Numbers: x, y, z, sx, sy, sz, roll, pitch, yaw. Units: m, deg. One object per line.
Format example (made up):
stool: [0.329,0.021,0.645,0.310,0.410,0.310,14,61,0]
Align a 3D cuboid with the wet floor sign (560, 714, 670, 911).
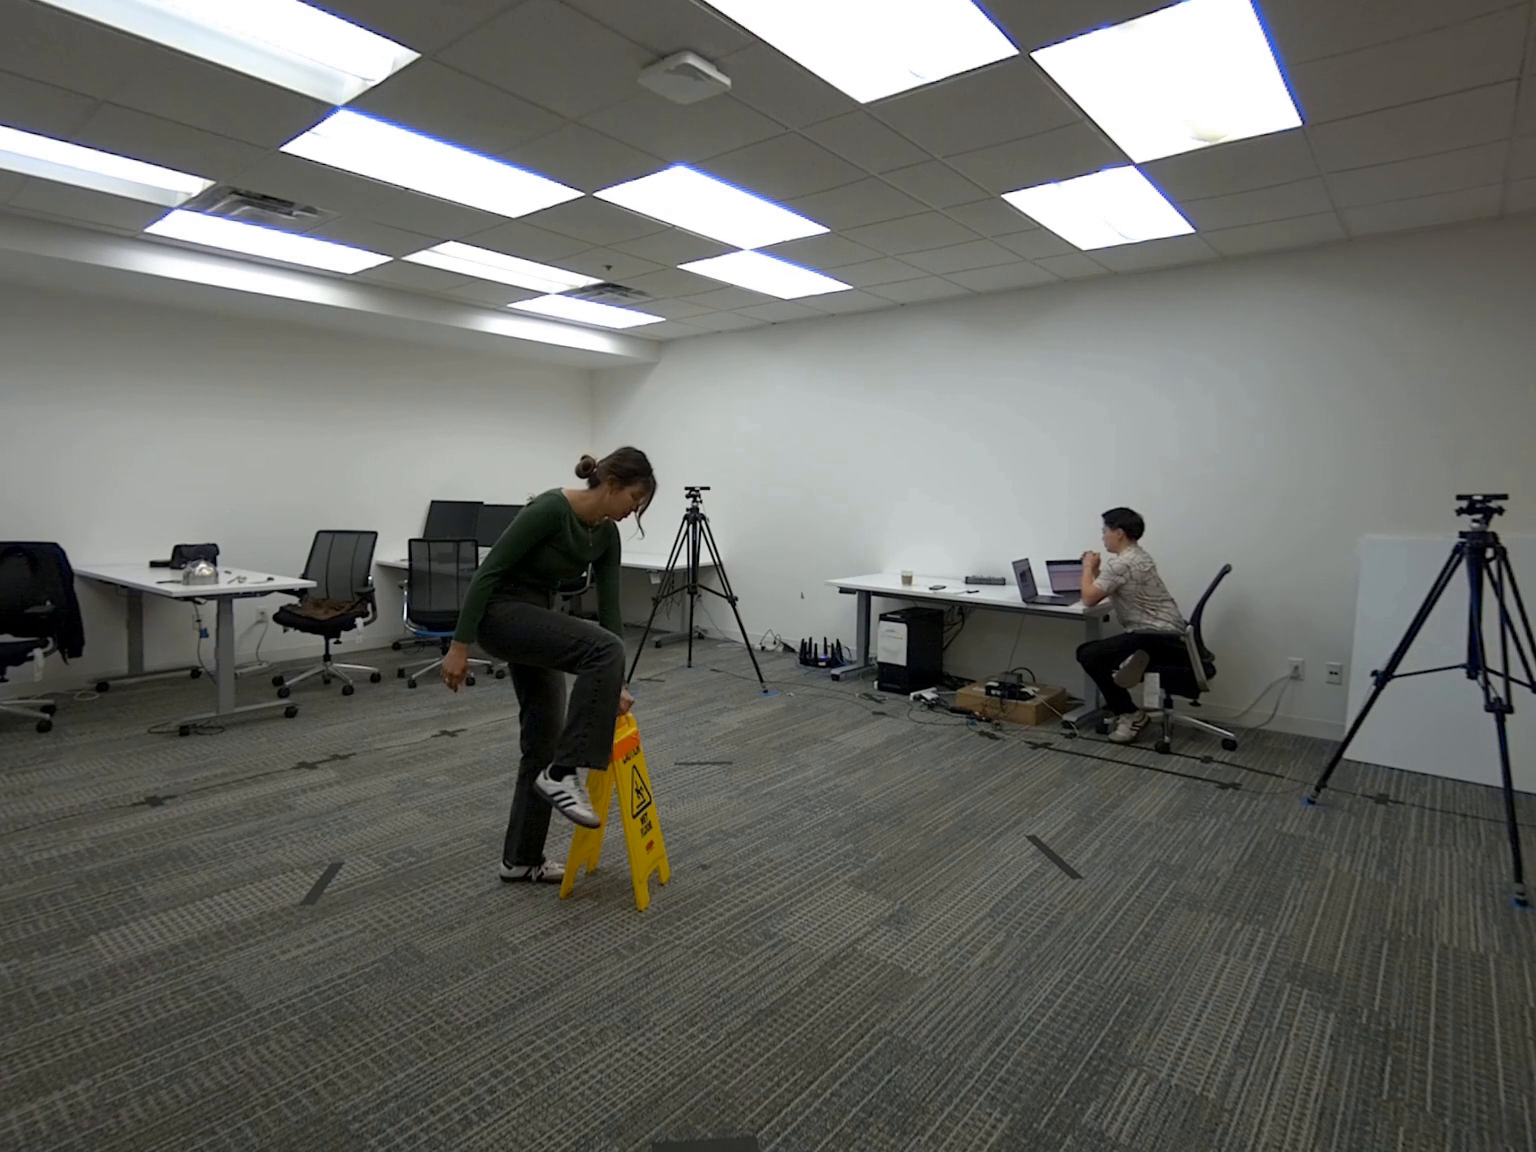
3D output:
wet floor sign: [-0.527,0.755,2.931,0.295,0.644,0.278,1,3,15]
